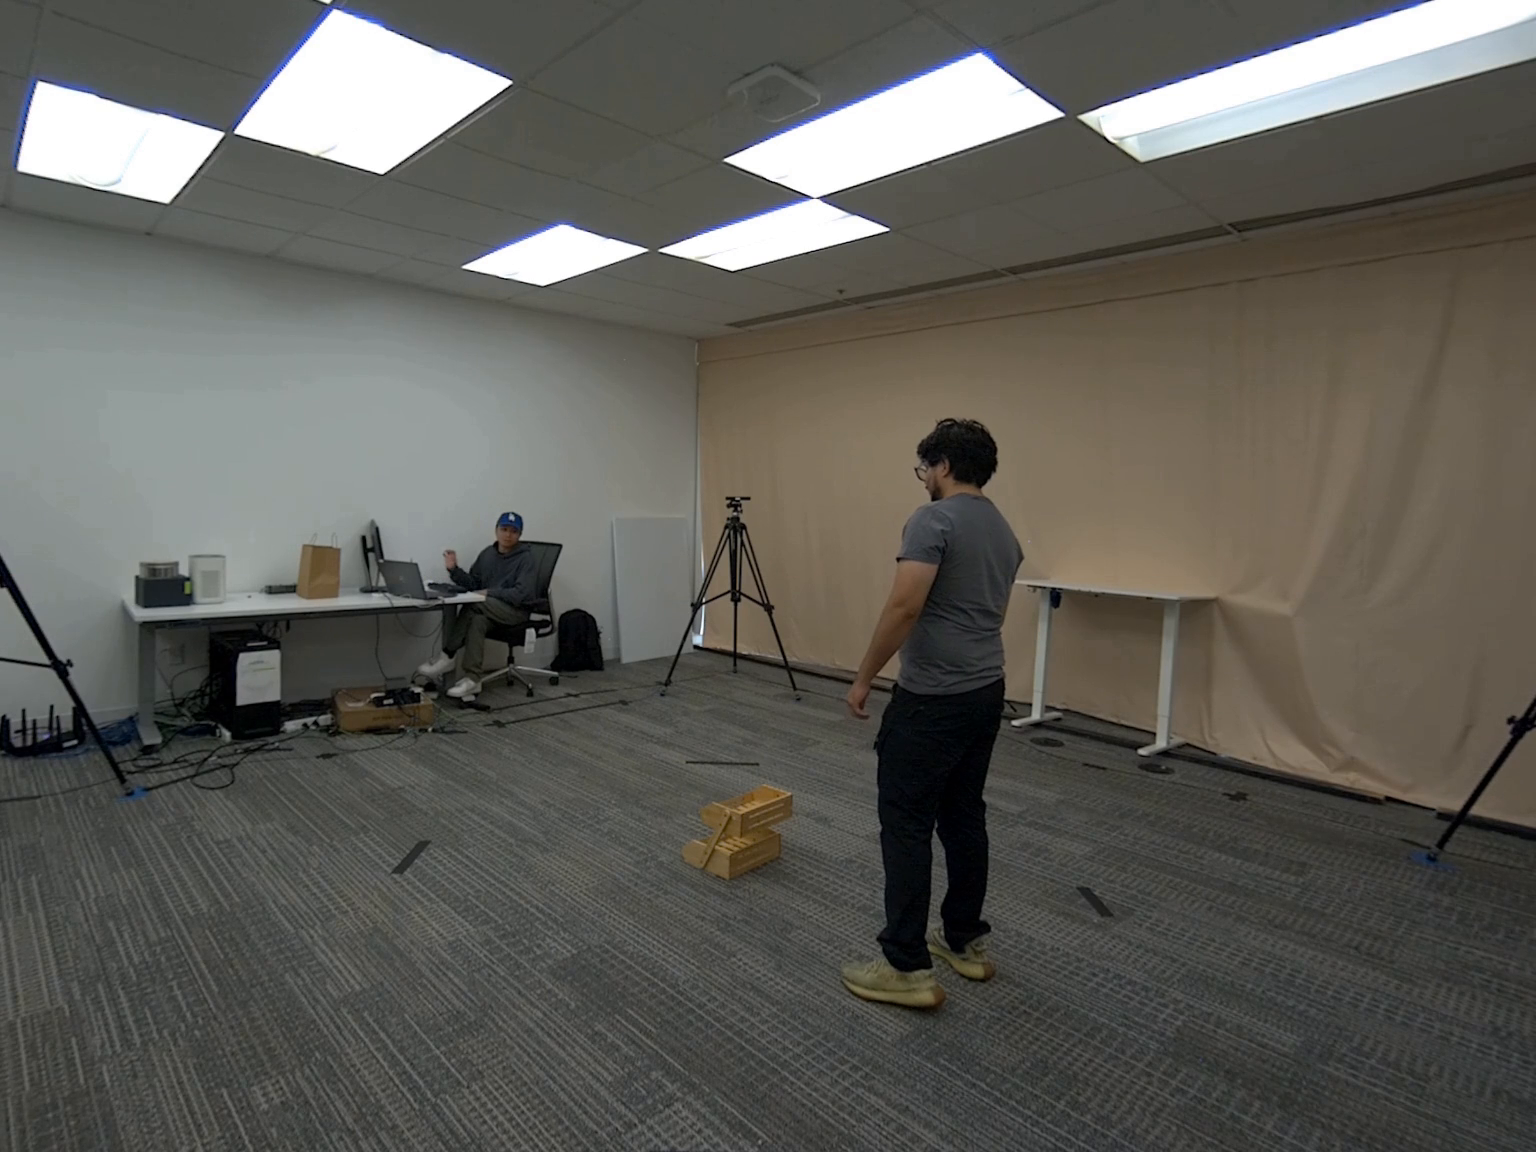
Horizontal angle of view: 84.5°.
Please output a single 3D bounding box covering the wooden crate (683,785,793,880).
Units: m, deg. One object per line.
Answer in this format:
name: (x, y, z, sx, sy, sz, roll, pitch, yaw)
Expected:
wooden crate: (-0.123, 0.956, 3.237, 0.310, 0.272, 0.317, 5, 5, 41)
